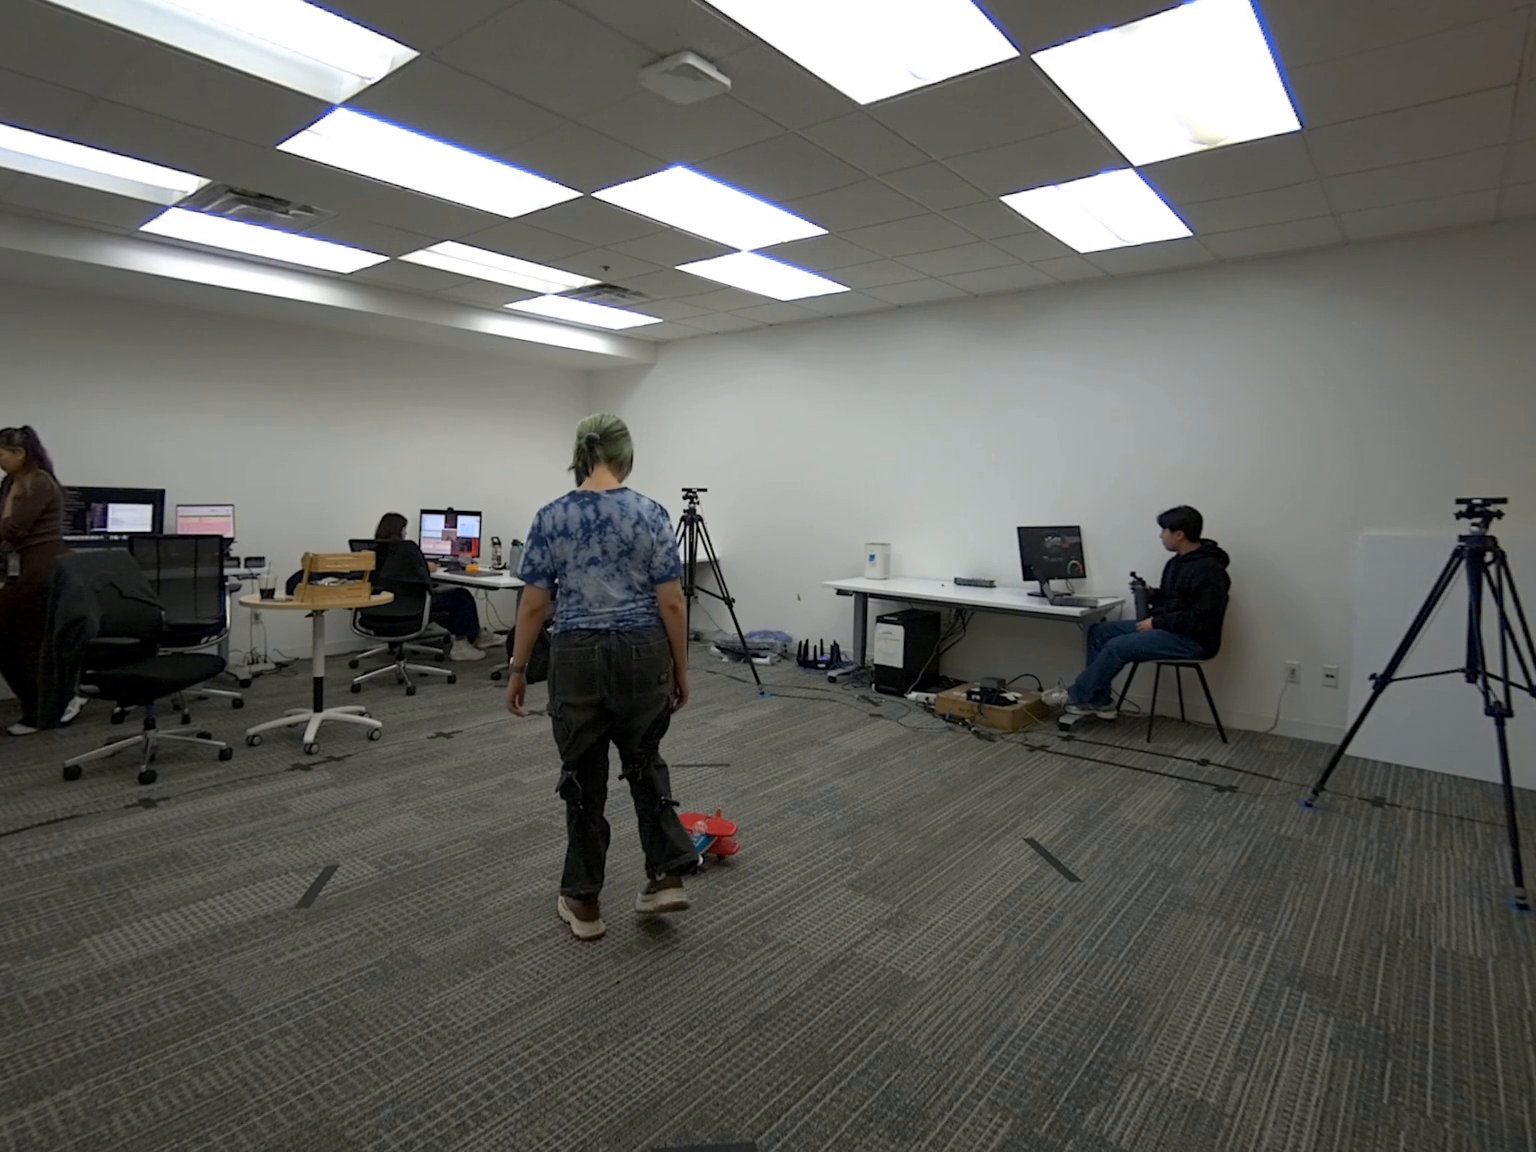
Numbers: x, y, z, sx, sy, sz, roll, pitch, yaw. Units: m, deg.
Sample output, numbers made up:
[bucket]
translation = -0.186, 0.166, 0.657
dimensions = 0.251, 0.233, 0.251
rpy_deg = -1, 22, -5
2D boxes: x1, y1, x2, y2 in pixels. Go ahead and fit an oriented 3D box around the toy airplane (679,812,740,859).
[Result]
[toy airplane]
translation = -0.237, 0.987, 3.149
dimensions = 0.251, 0.156, 0.260
rpy_deg = 0, 3, -2
